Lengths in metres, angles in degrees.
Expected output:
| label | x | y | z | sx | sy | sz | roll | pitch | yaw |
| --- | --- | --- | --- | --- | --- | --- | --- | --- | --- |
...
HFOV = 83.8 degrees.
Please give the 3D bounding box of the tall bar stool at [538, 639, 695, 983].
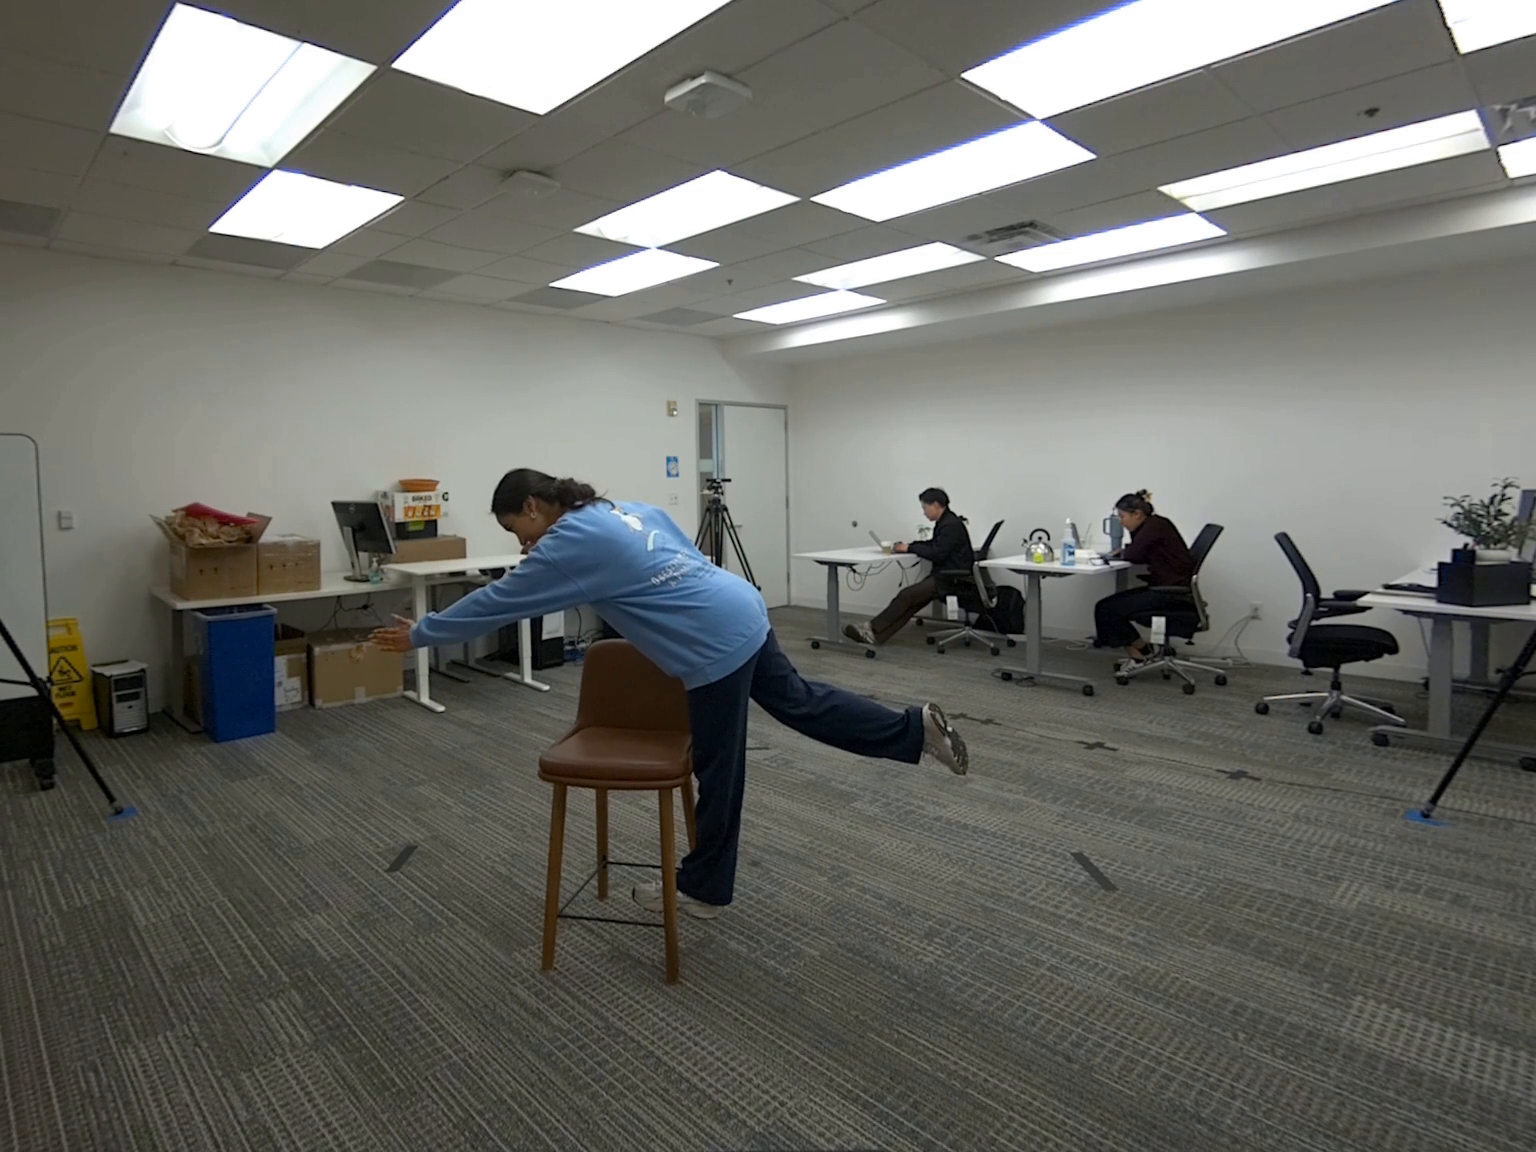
| label | x | y | z | sx | sy | sz | roll | pitch | yaw |
| --- | --- | --- | --- | --- | --- | --- | --- | --- | --- |
| tall bar stool | -0.425 | 0.676 | 2.605 | 0.462 | 0.888 | 0.463 | 0 | 3 | 12 |
